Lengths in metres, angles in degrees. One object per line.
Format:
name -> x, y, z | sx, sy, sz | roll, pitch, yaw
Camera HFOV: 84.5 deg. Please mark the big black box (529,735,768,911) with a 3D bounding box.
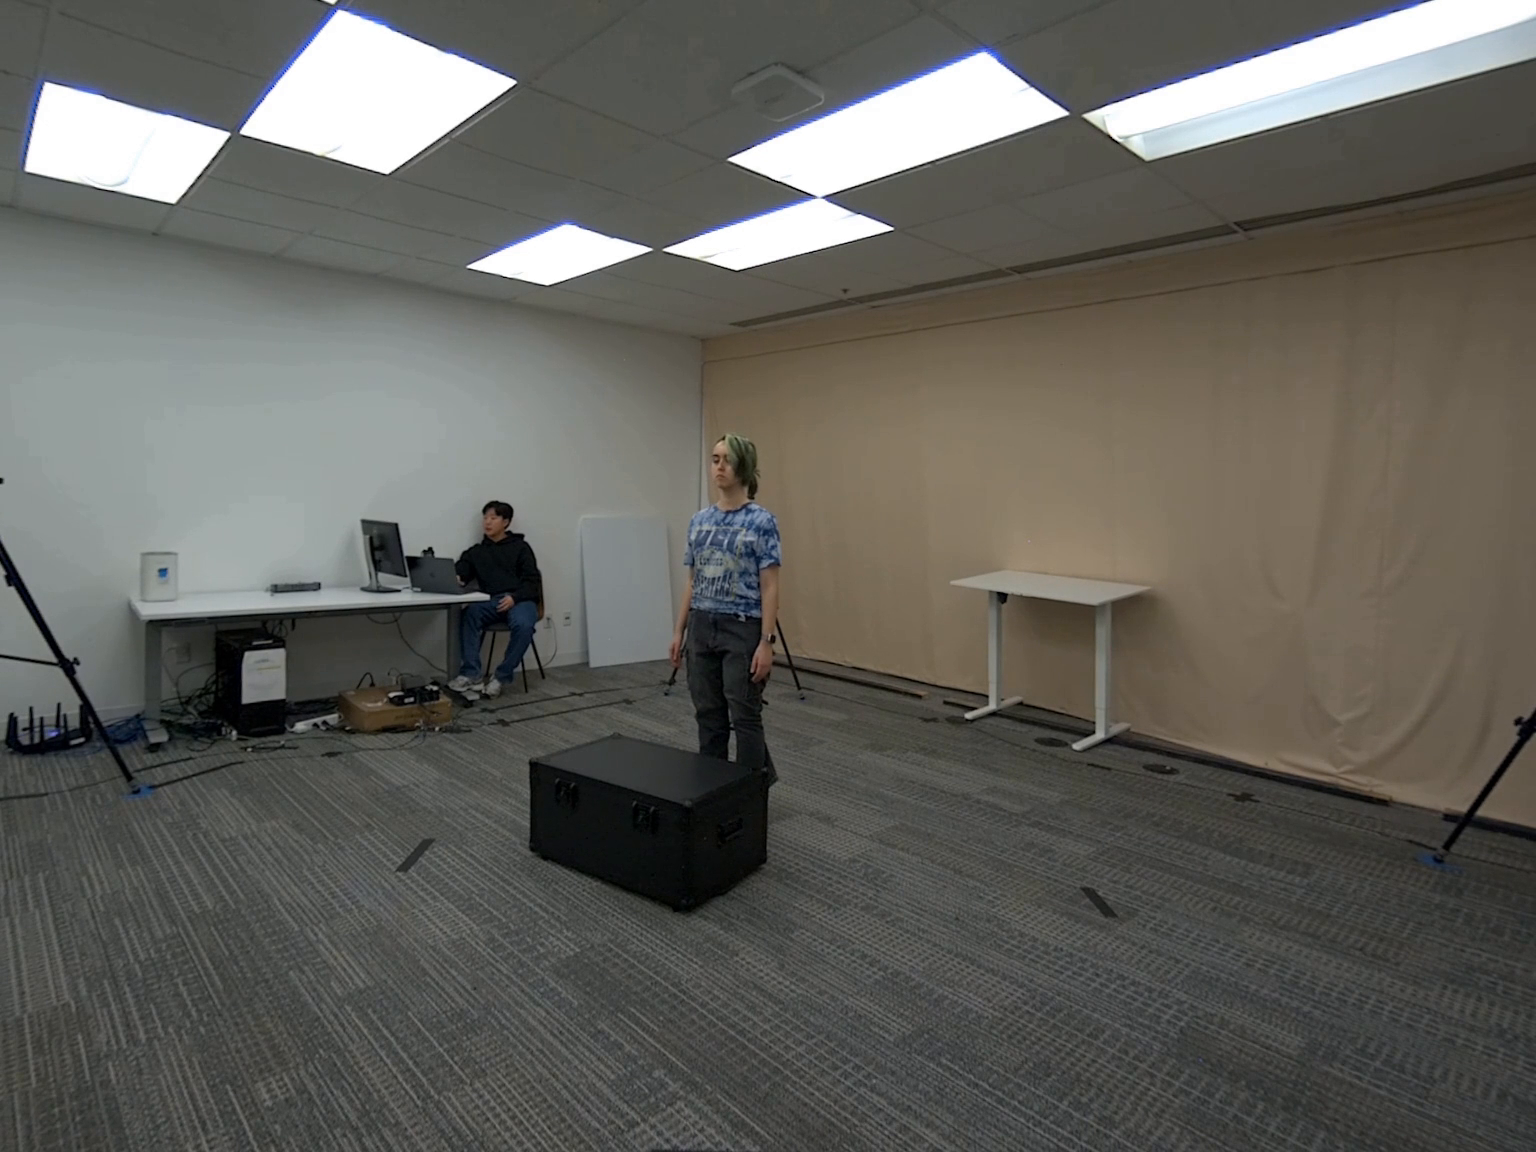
big black box -> -0.491, 0.898, 3.204 | 0.882, 0.395, 0.510 | 5, 6, 34
